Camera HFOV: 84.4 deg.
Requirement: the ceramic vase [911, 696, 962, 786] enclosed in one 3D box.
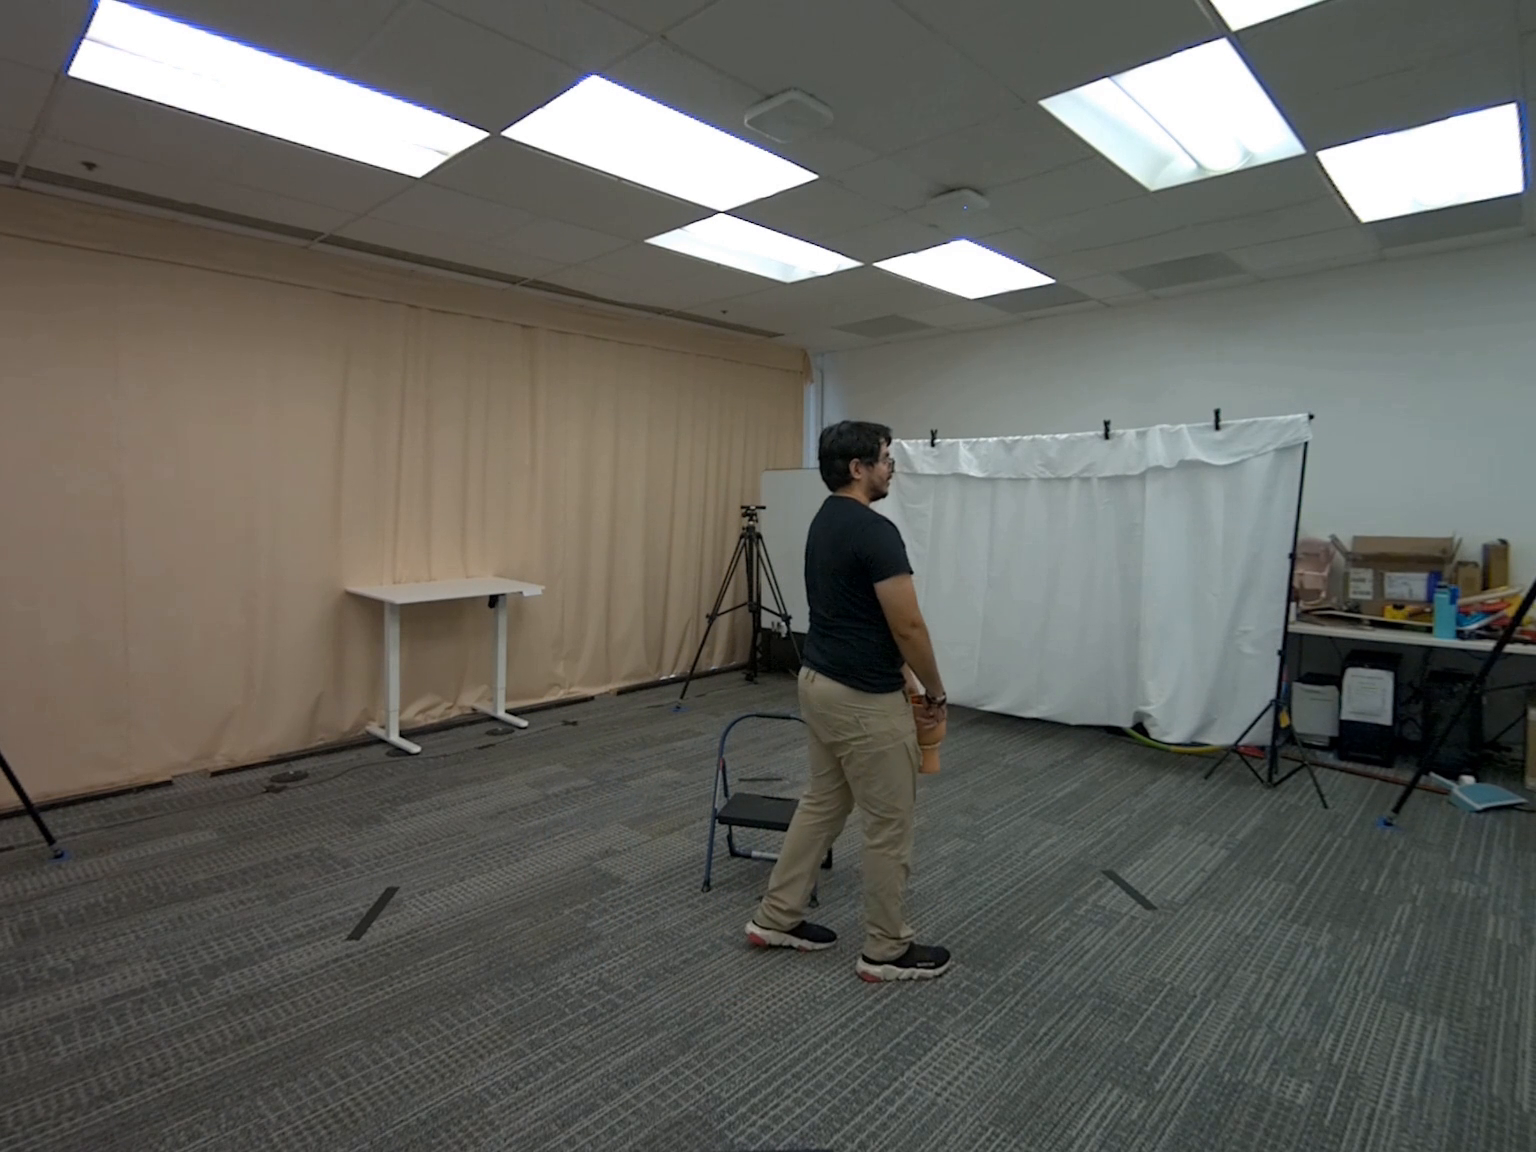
[{"bbox_3d":[0.497,0.502,2.612,0.138,0.219,0.154,-1,4,33],"label":"ceramic vase"}]
